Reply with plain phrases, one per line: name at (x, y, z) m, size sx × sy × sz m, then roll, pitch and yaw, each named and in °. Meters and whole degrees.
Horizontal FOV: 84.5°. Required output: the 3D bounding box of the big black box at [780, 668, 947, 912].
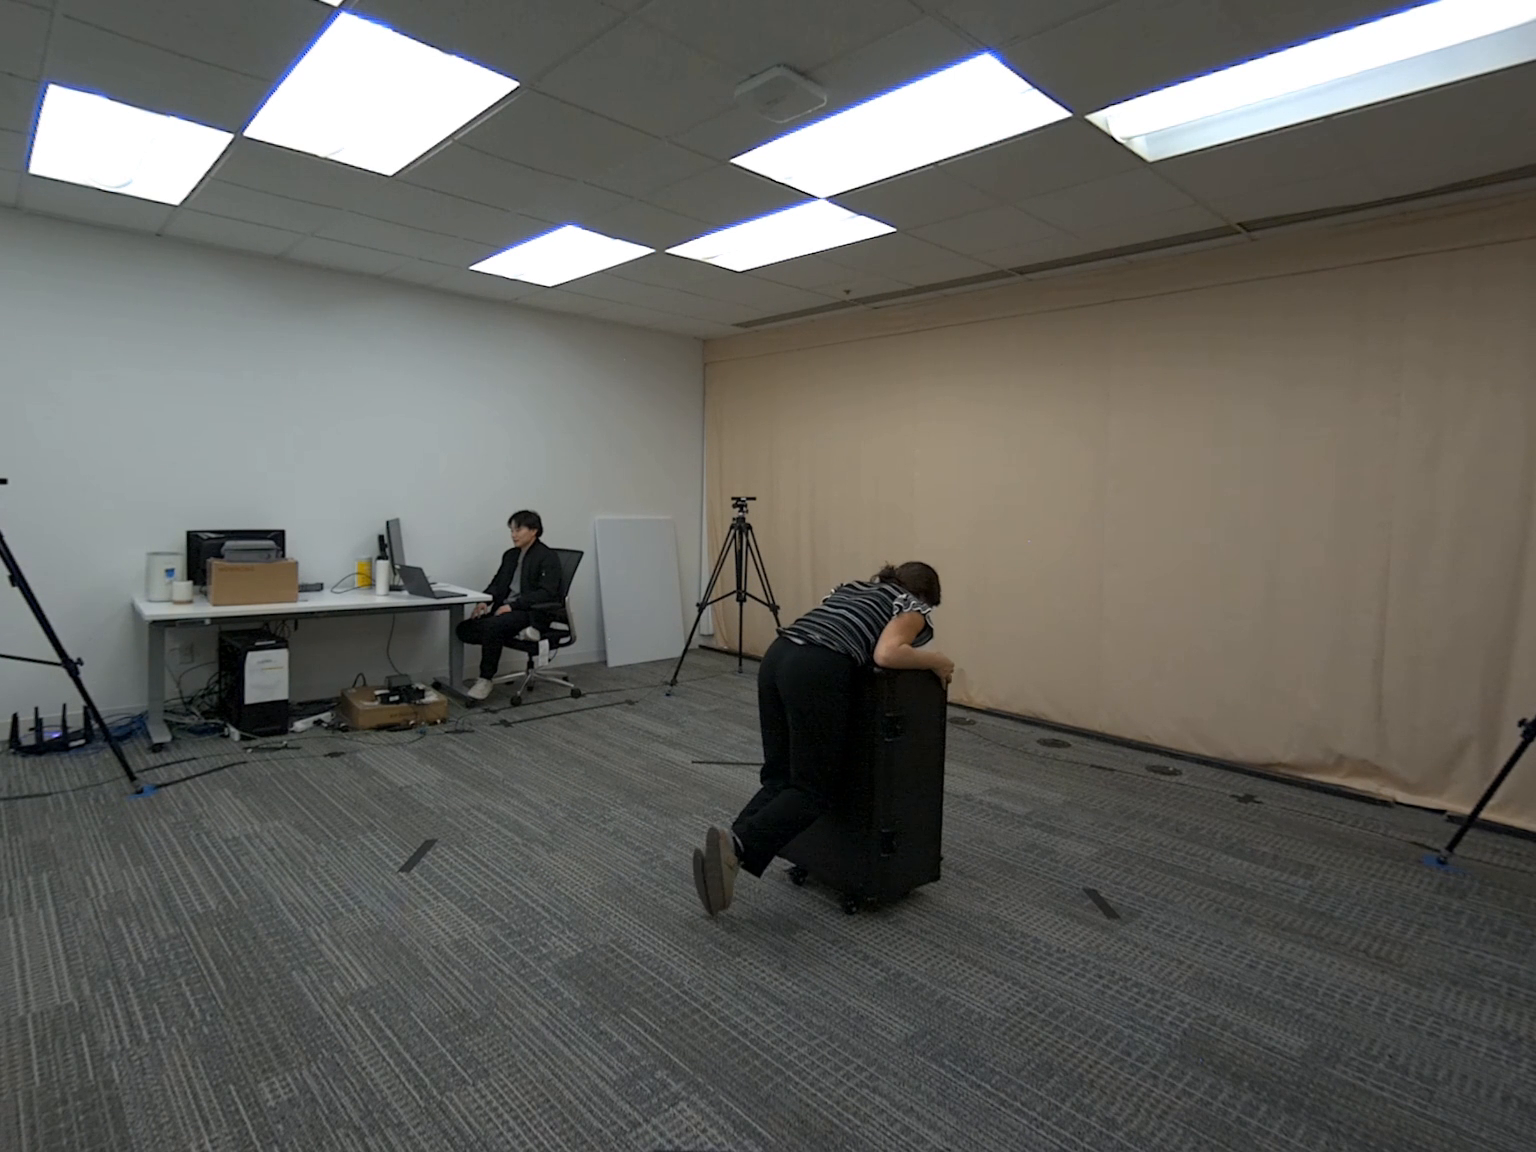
big black box at (0.325, 0.708, 3.031) m, size 0.387 × 0.860 × 0.534 m, roll 1°, pitch 3°, yaw -39°
